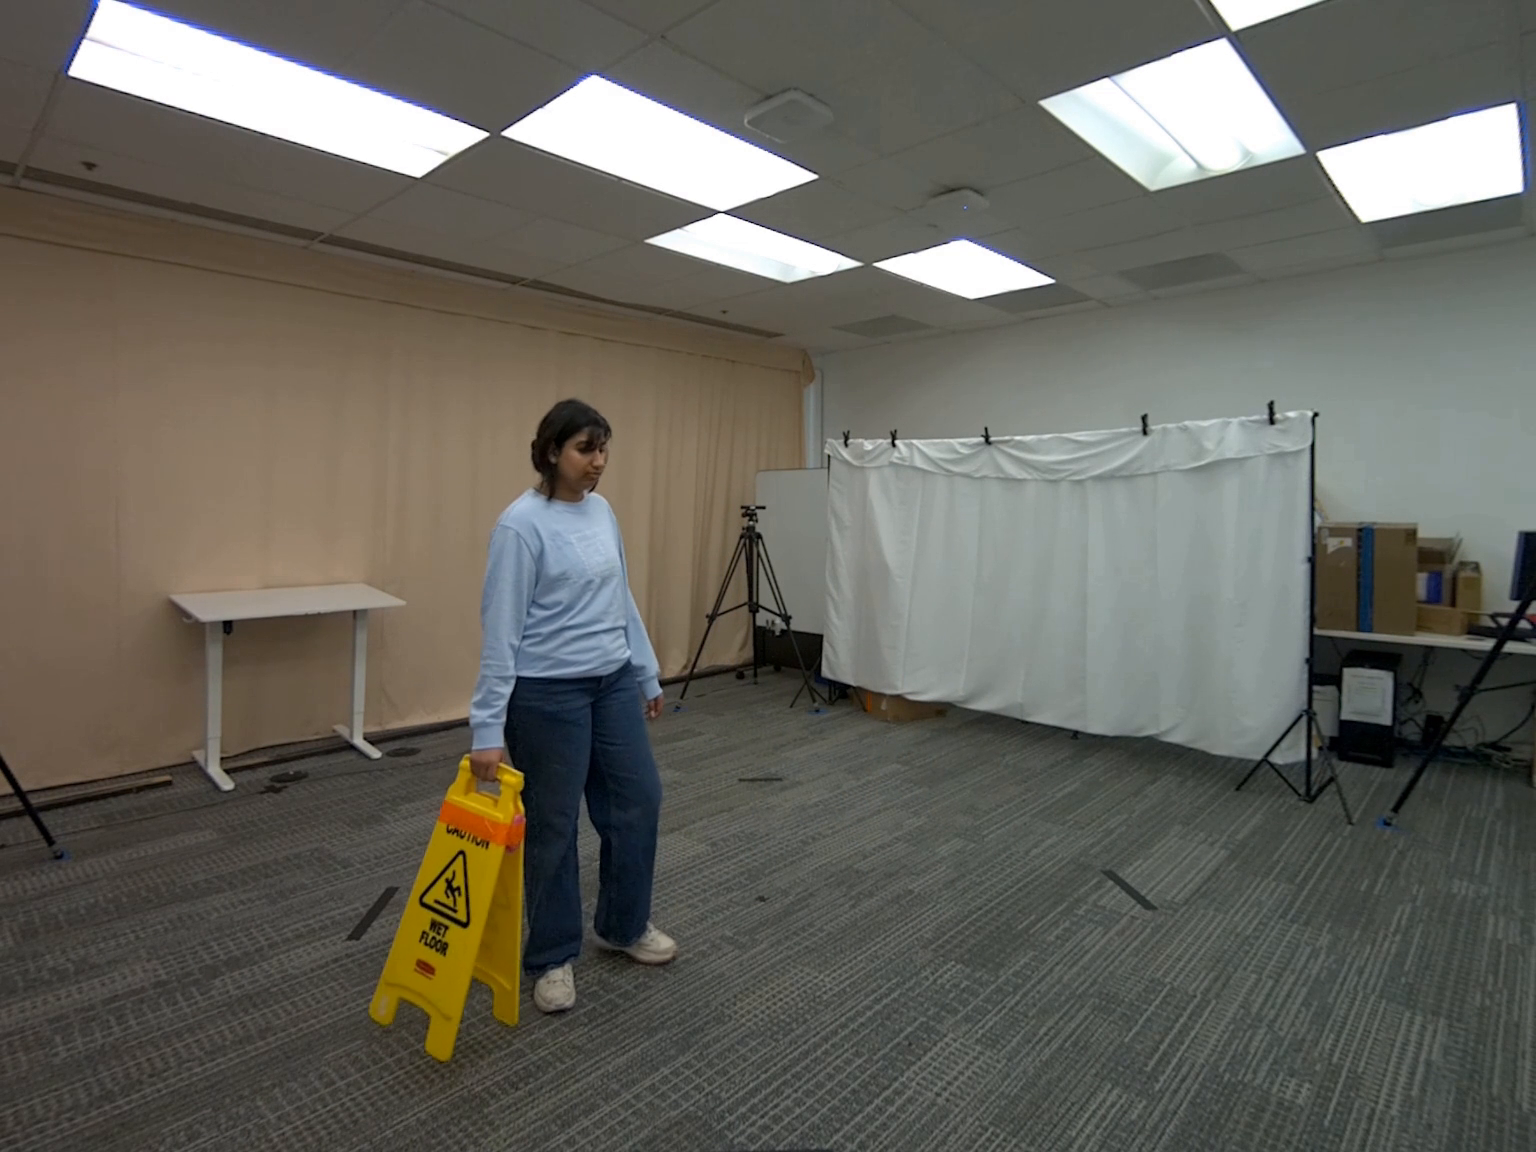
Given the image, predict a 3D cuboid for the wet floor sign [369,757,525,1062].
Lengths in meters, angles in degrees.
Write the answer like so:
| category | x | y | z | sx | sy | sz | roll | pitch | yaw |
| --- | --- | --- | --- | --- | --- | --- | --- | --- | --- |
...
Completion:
| category | x | y | z | sx | sy | sz | roll | pitch | yaw |
| --- | --- | --- | --- | --- | --- | --- | --- | --- | --- |
| wet floor sign | -0.750 | 0.801 | 2.131 | 0.290 | 0.646 | 0.281 | 10 | -2 | 28 |
